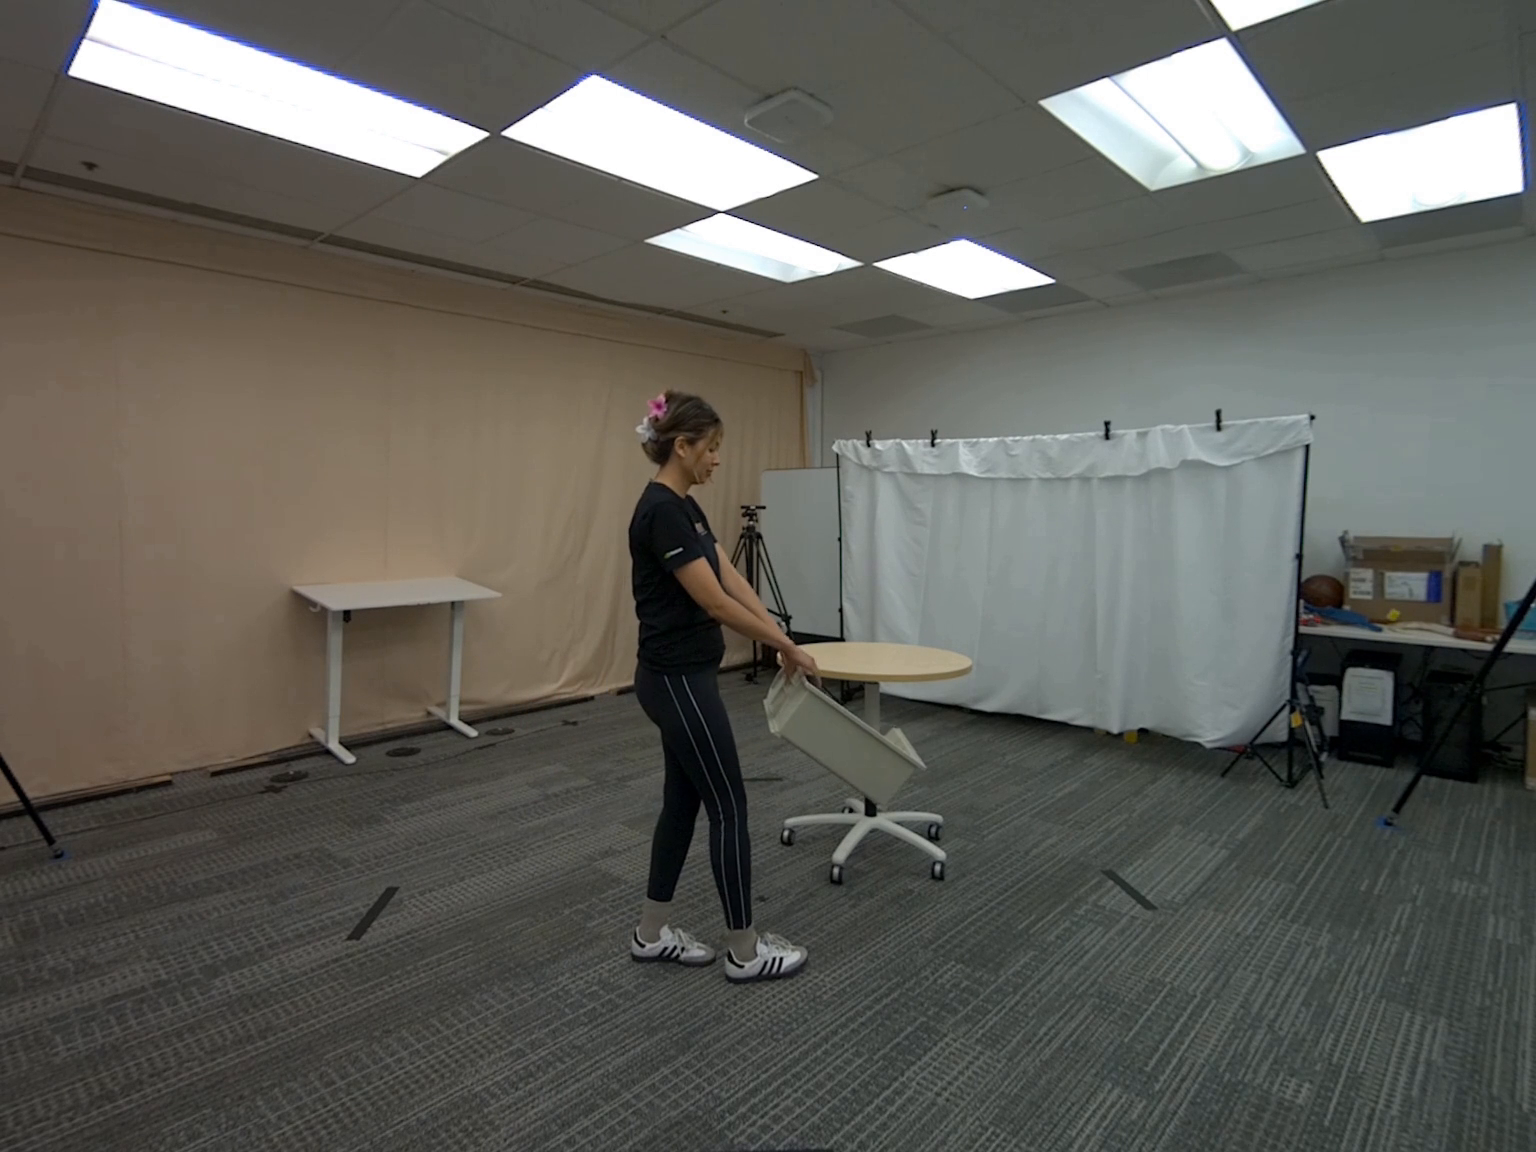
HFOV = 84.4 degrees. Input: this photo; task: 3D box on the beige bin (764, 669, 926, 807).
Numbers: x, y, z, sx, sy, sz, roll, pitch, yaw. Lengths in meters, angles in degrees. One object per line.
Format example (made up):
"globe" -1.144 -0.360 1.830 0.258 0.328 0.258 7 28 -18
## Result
"beige bin" 0.213 0.465 2.553 0.420 0.189 0.379 37 6 -6
